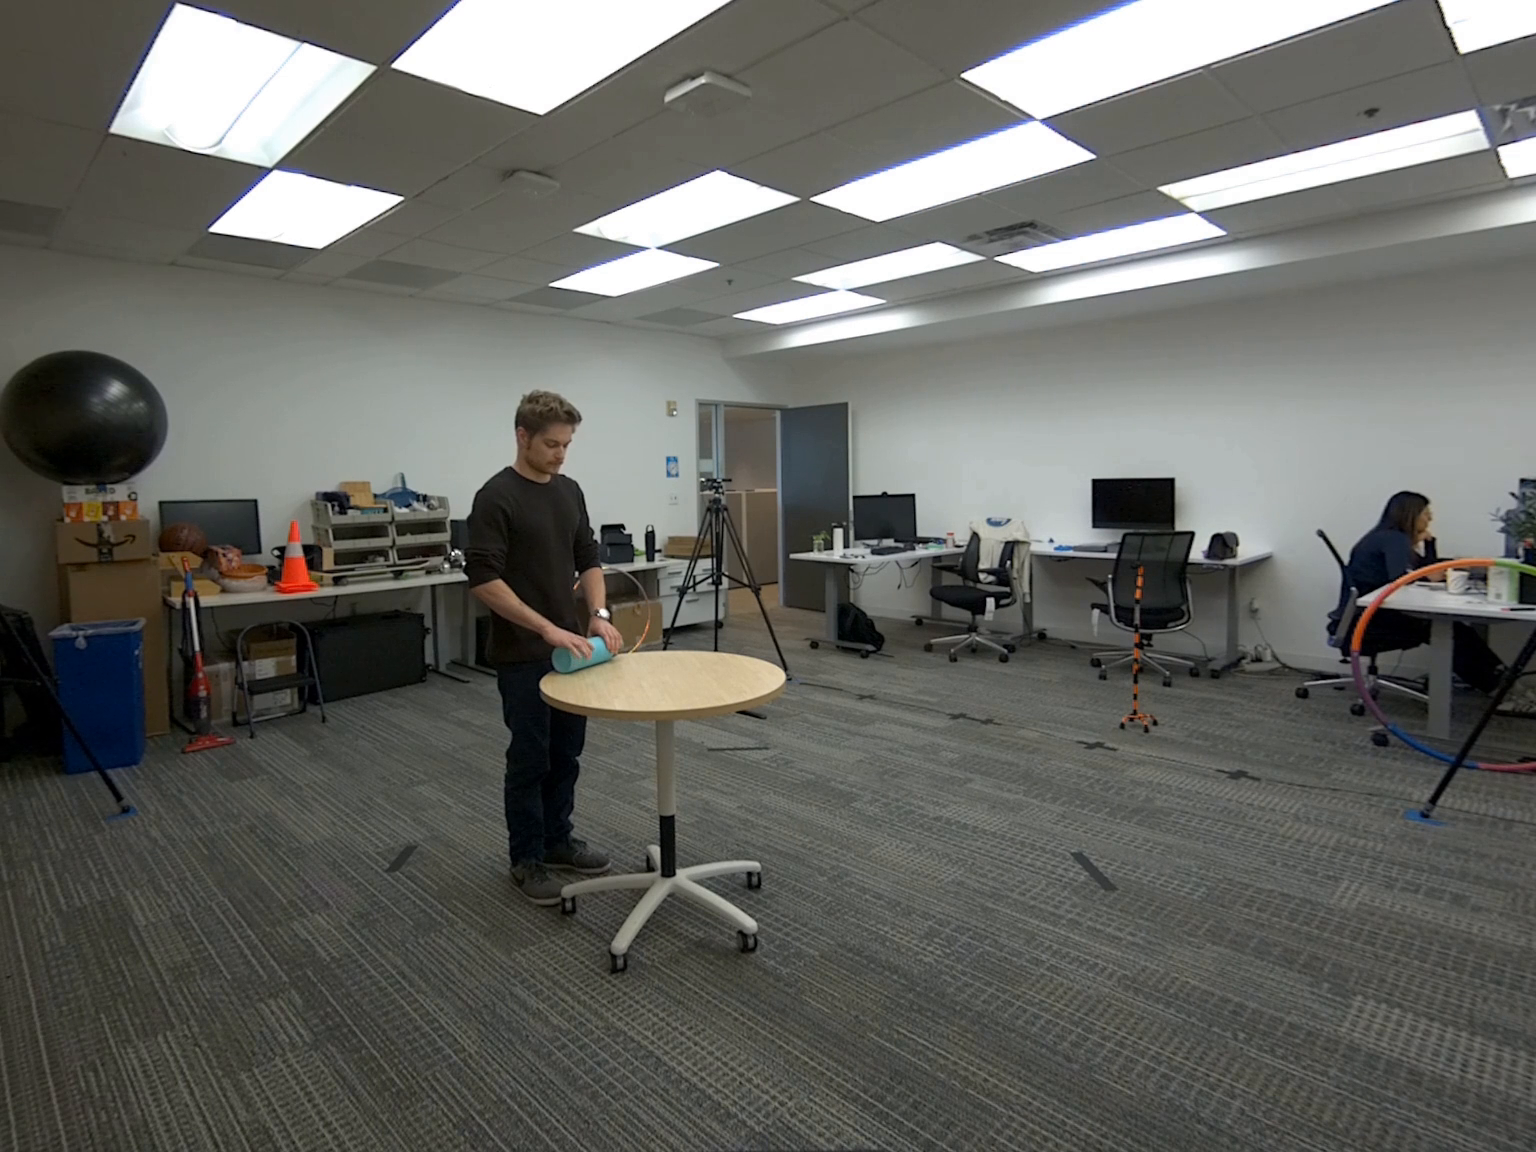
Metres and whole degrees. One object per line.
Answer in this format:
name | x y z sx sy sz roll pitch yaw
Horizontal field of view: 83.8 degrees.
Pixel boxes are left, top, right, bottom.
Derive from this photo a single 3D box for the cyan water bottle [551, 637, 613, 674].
cyan water bottle | -0.599 0.254 2.850 0.094 0.092 0.277 2 6 27
